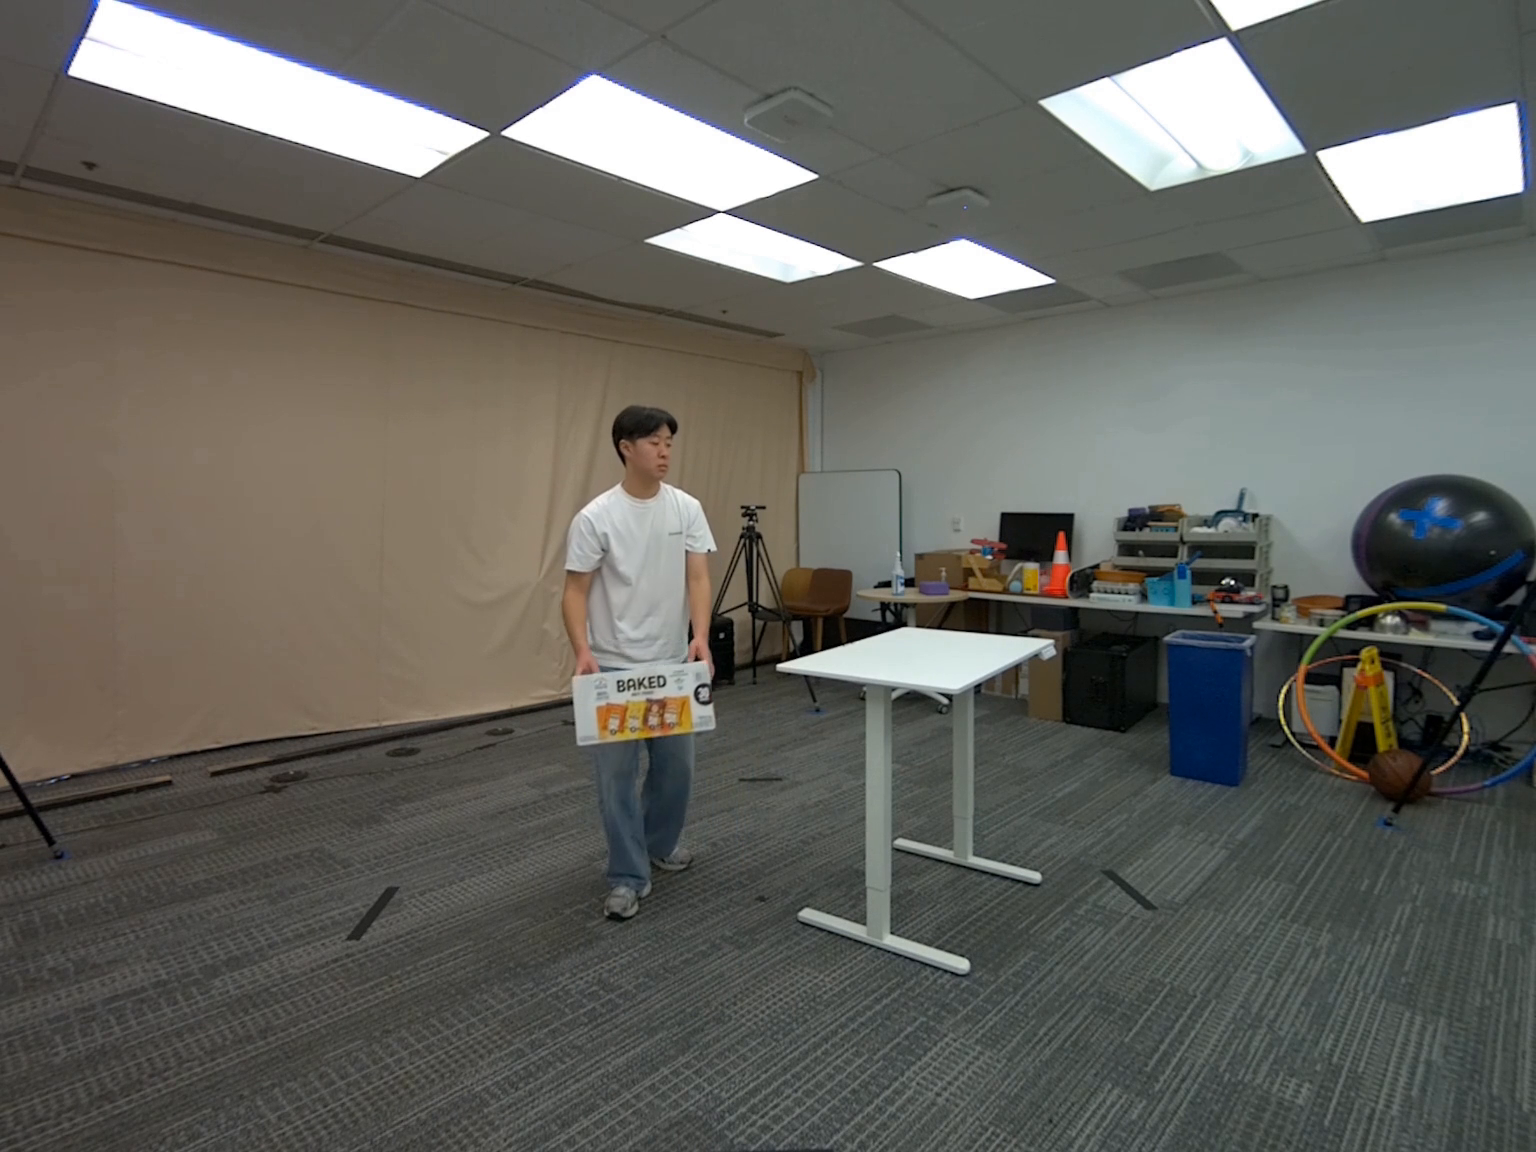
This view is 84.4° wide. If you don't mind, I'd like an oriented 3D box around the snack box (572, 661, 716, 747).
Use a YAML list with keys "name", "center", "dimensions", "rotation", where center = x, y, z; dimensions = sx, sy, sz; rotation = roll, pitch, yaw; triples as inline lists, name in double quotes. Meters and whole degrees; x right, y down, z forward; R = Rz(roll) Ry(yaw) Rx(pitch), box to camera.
- name: "snack box"
  center: [-0.365, 0.385, 2.629]
  dimensions: [0.403, 0.207, 0.340]
  rotation: [-6, -7, -5]
